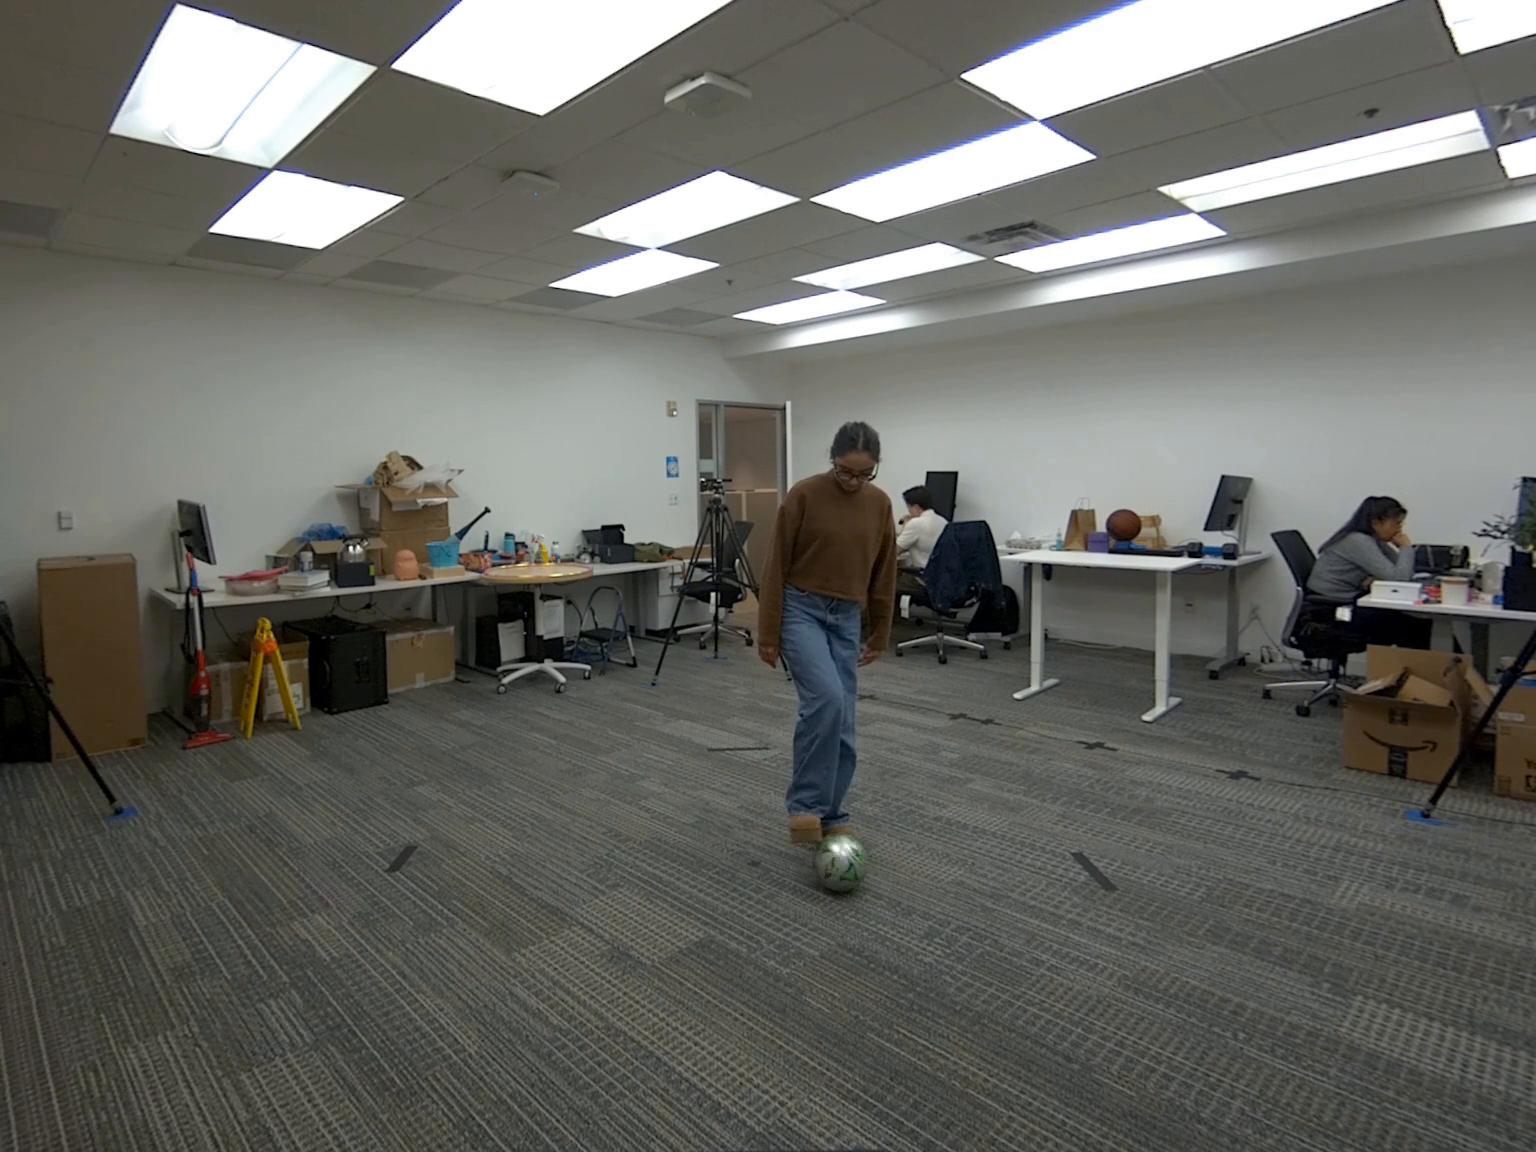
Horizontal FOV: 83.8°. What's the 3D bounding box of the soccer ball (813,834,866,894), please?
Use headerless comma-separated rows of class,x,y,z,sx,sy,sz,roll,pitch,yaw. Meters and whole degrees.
soccer ball,0.240,0.977,2.897,0.187,0.187,0.188,-1,5,-2
